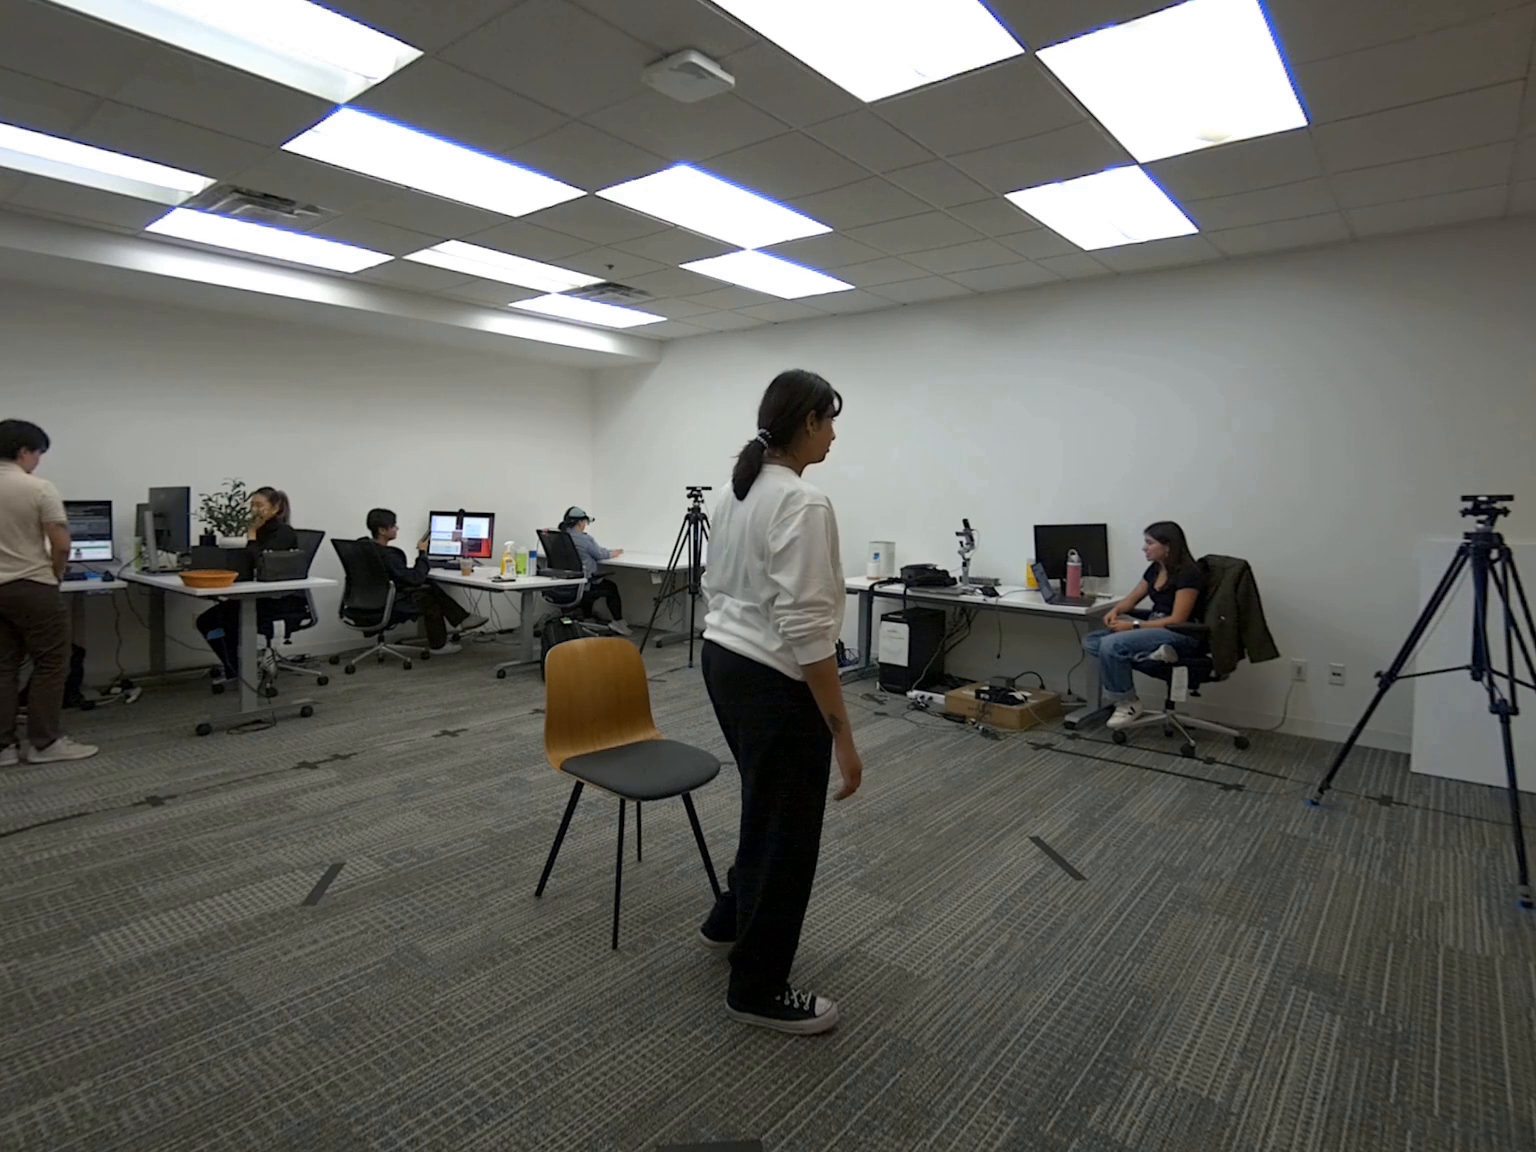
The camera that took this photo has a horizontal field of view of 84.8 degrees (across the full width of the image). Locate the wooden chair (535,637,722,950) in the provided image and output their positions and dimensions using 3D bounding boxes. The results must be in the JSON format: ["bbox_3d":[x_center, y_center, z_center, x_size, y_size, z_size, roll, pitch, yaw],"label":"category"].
[{"bbox_3d":[-0.456,0.660,2.830,0.463,0.878,0.539,-2,0,-45],"label":"wooden chair"}]
